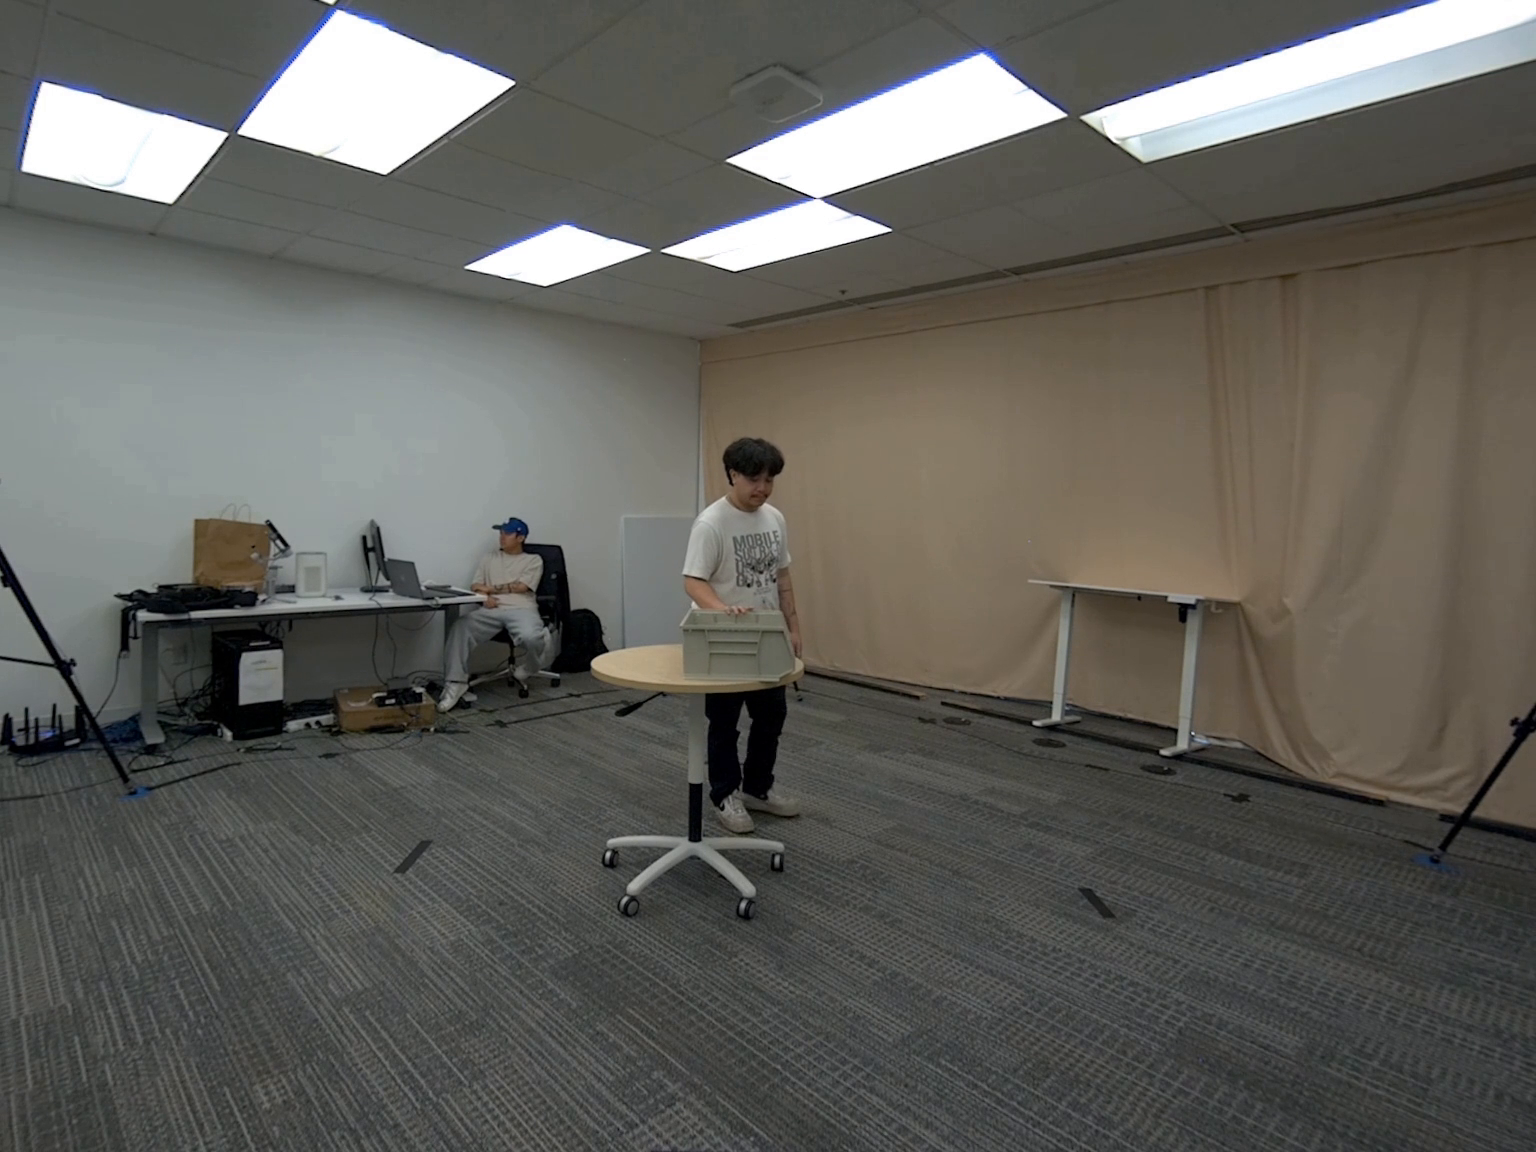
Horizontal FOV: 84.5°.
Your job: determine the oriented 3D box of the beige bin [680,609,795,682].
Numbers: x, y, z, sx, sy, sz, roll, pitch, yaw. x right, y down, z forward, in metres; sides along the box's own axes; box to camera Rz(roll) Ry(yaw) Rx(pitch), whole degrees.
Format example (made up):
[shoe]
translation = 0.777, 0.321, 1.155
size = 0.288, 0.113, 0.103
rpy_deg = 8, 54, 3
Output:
[beige bin]
translation = -0.104, 0.239, 2.934
size = 0.377, 0.188, 0.424
rpy_deg = 1, 5, -1
